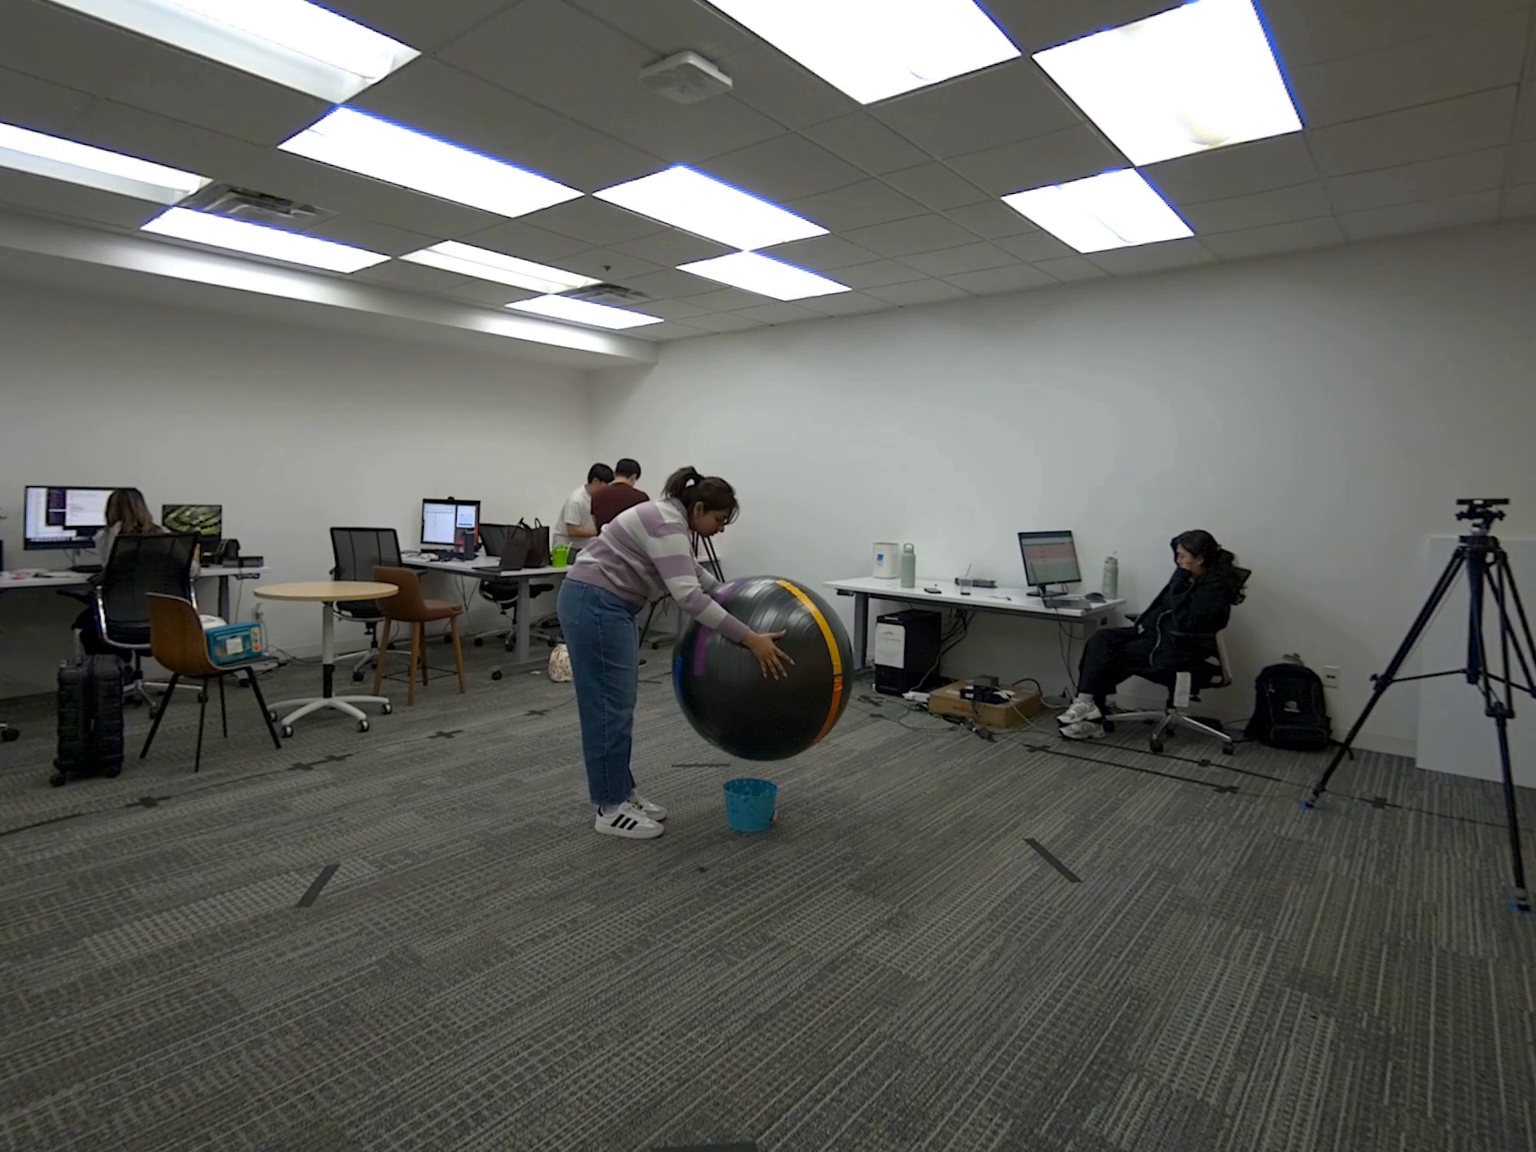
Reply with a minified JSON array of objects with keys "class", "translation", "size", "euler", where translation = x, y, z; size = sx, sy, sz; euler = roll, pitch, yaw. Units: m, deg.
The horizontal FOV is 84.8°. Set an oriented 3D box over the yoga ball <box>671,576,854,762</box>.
[{"class":"yoga ball","translation":[-0.032,0.376,3.538],"size":[0.757,0.756,0.761],"euler":[1,4,-2]}]
